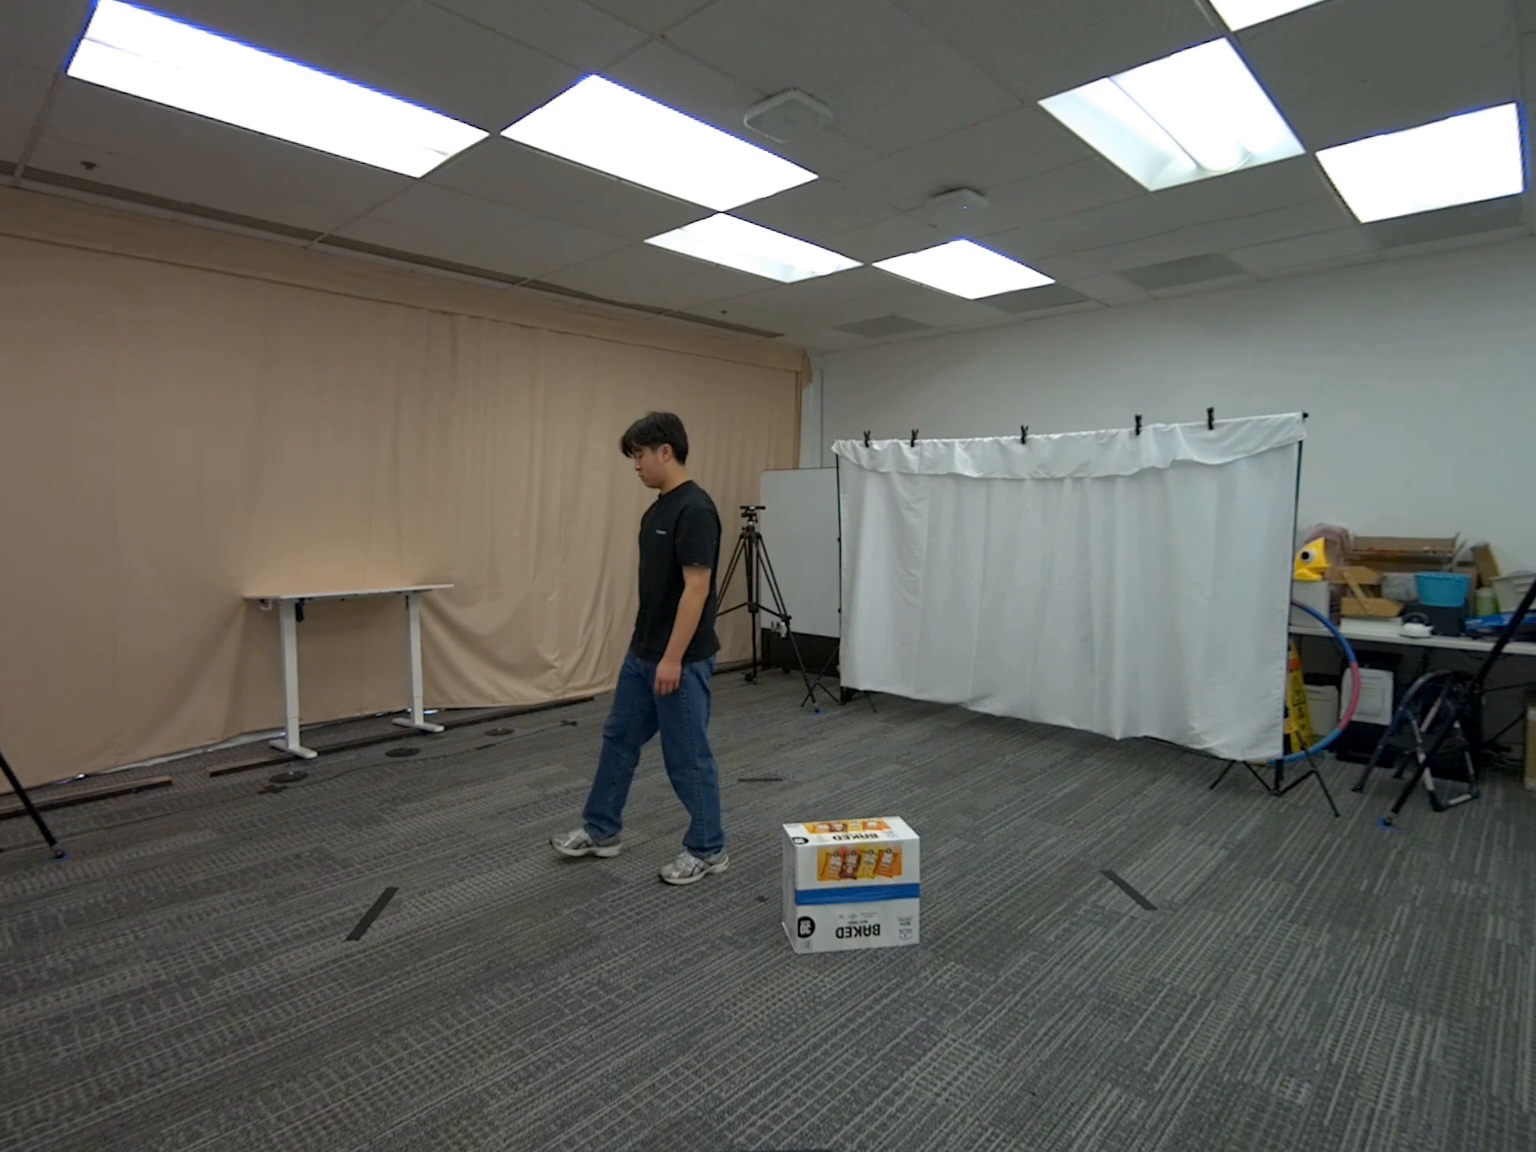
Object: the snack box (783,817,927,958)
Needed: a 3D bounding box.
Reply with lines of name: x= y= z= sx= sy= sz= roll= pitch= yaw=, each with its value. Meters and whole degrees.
snack box: x=0.273 y=0.992 z=2.729 sx=0.401 sy=0.340 sz=0.208 roll=-1 pitch=1 yaw=-9
